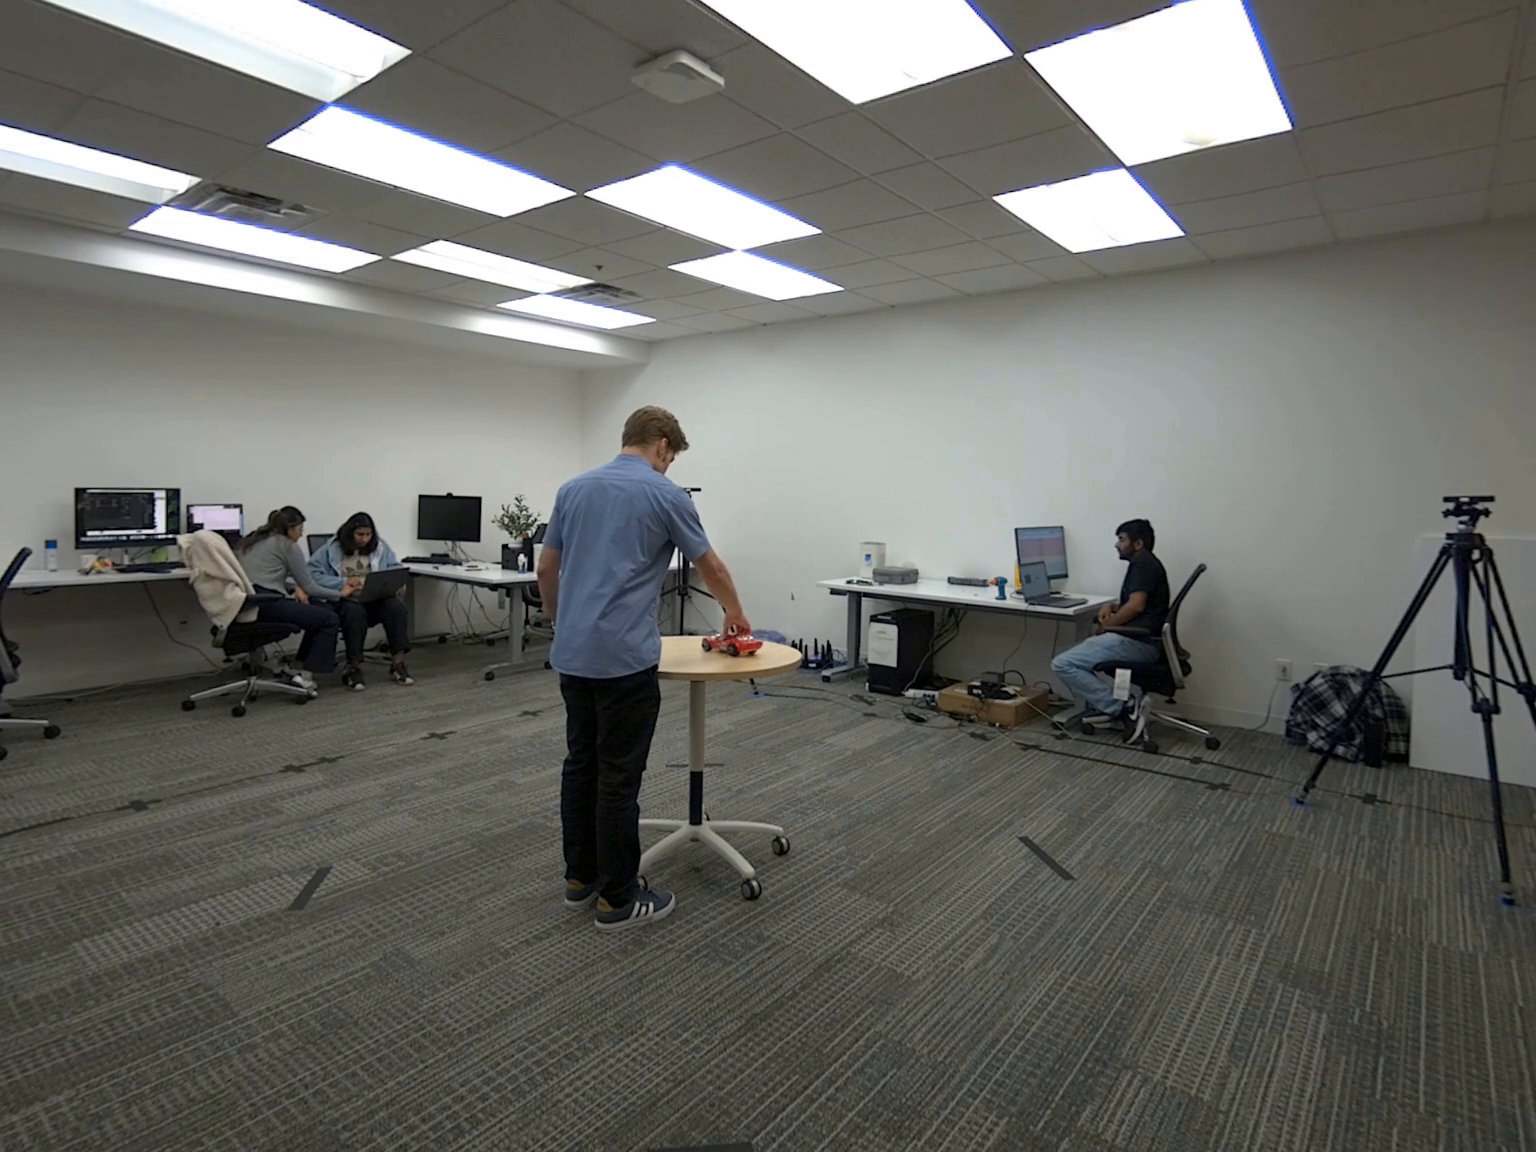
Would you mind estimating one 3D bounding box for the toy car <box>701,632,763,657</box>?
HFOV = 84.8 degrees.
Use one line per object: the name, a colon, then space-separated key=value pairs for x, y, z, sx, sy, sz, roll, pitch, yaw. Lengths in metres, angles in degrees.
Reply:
toy car: x=-0.133 y=0.254 z=3.144 sx=0.126 sy=0.083 sz=0.261 roll=-3 pitch=-5 yaw=-45
